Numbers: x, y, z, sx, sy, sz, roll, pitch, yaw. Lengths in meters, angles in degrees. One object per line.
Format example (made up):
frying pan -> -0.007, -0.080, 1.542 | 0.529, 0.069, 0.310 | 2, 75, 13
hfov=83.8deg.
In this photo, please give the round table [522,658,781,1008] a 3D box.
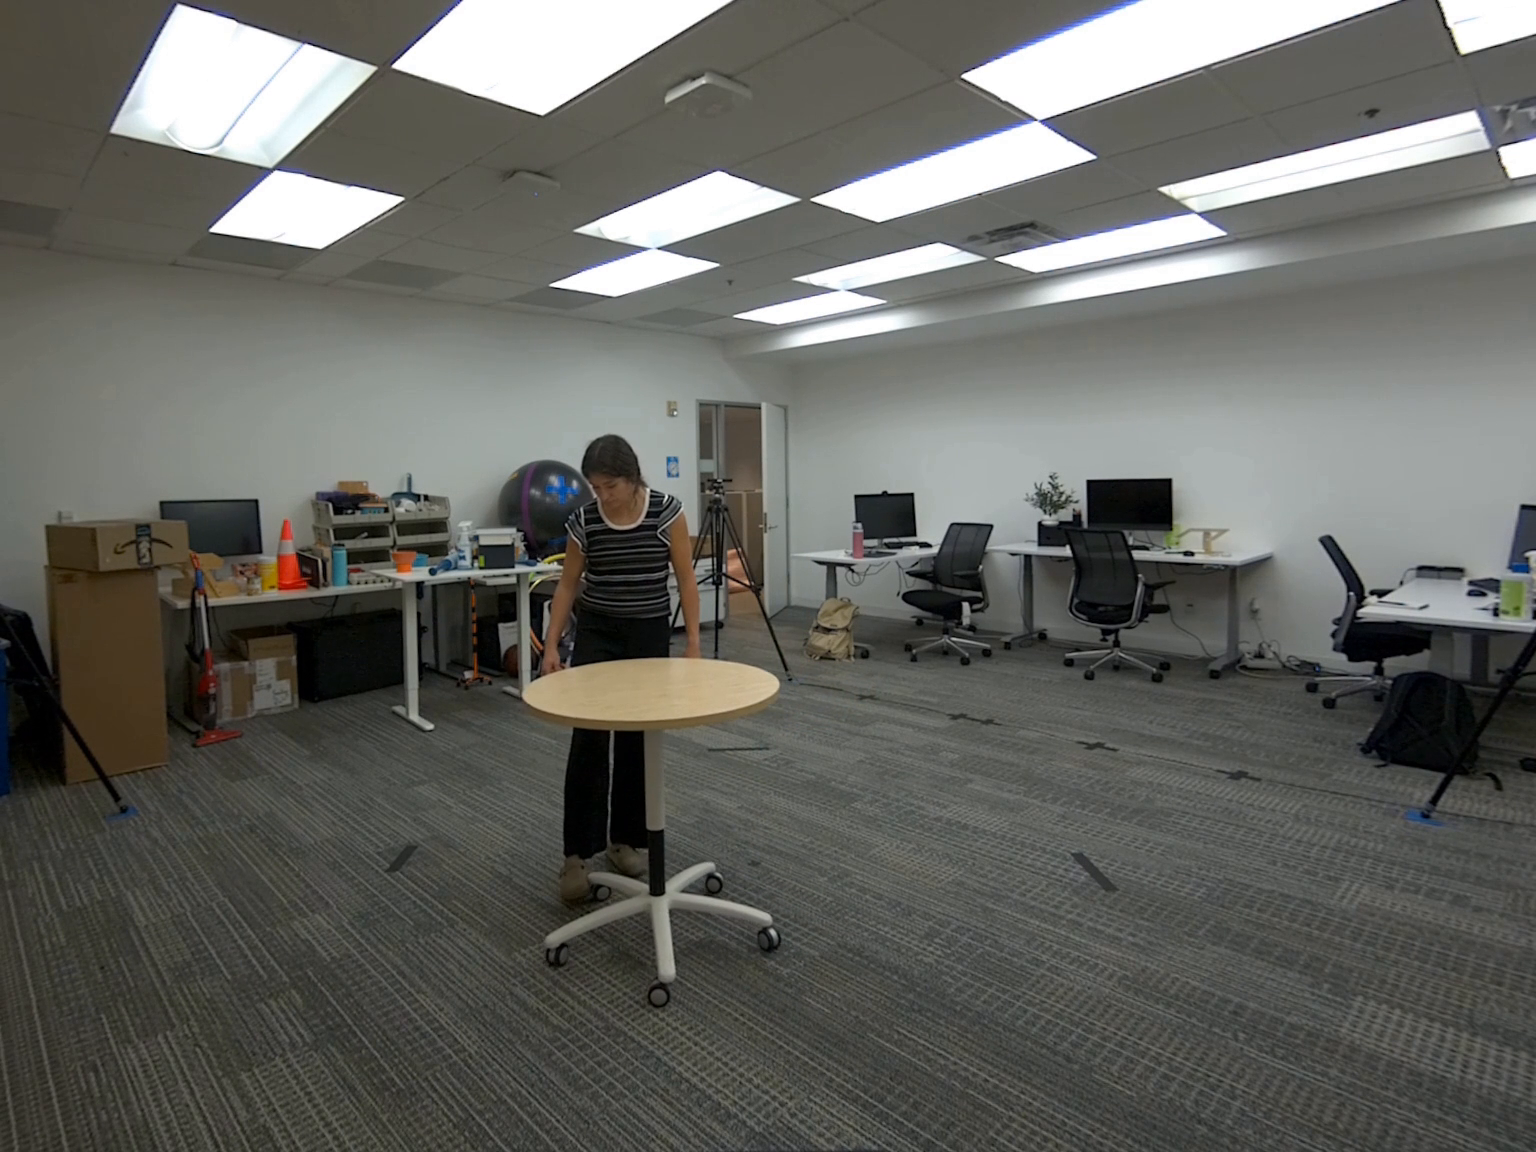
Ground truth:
round table -> -0.334, 0.719, 2.577 | 0.784, 0.783, 0.789 | -1, 5, -2
